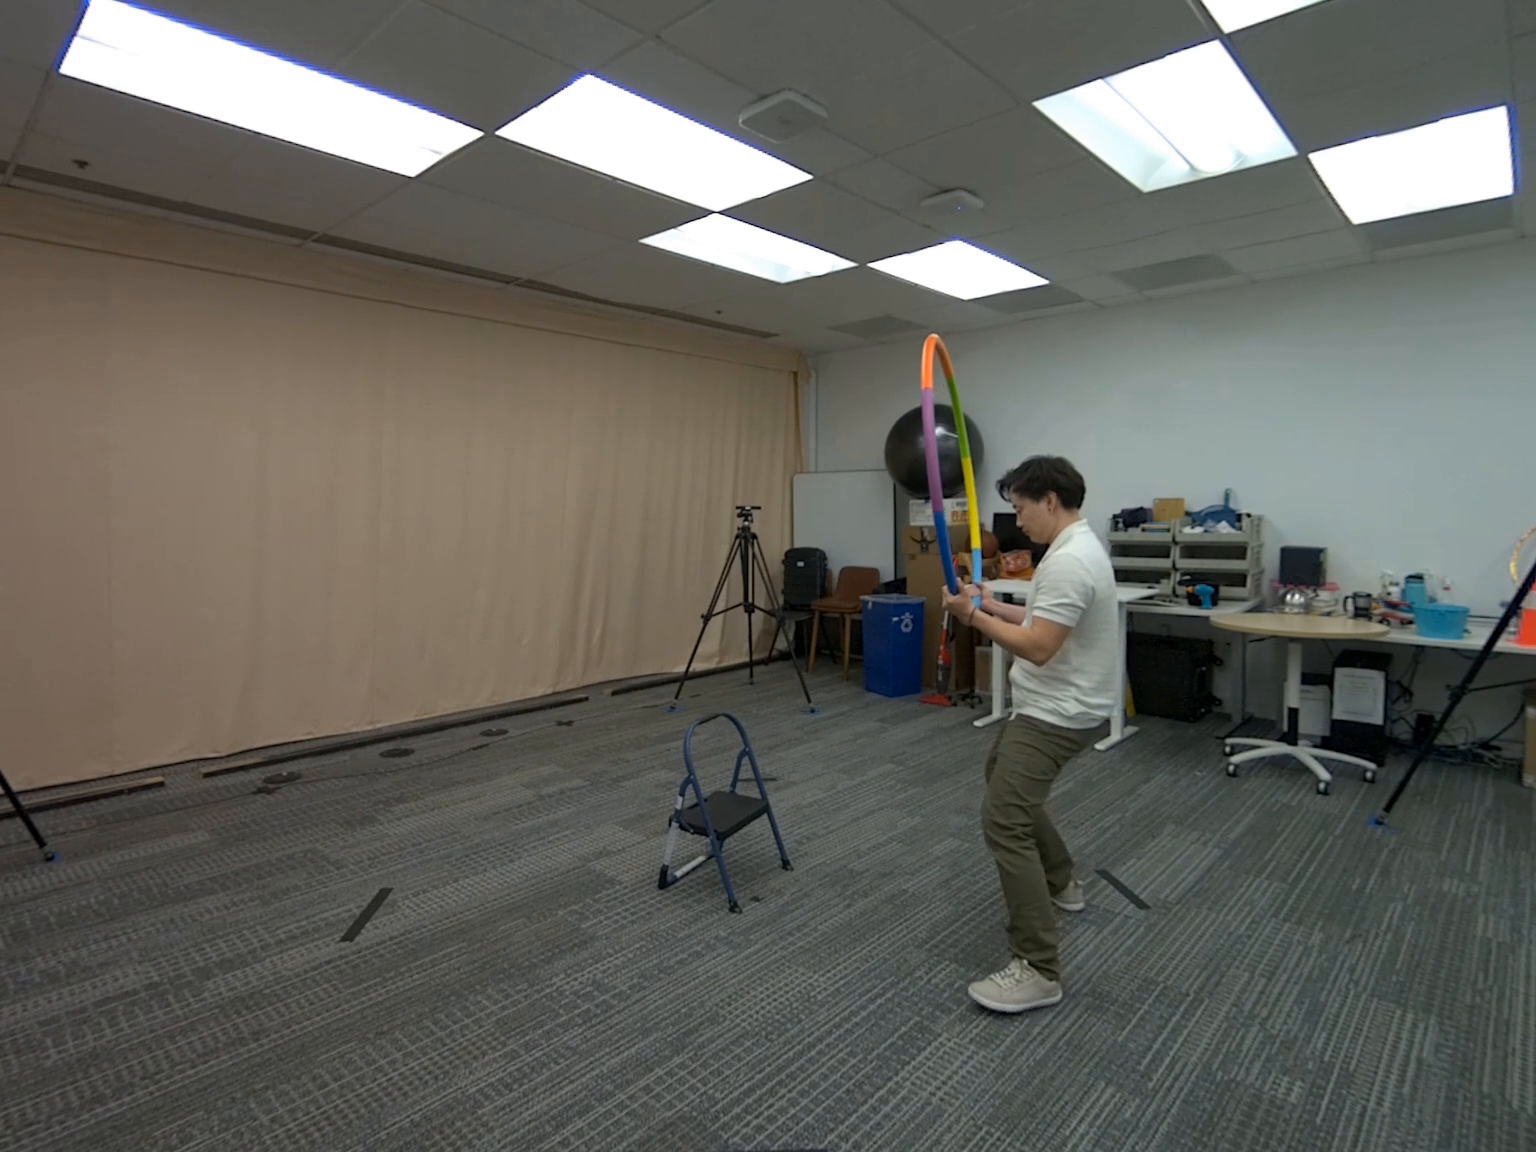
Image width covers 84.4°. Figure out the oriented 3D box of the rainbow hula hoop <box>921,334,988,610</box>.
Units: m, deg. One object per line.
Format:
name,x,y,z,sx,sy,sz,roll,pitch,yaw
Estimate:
rainbow hula hoop,0.646,-0.328,2.858,0.036,0.979,0.959,-8,1,20
